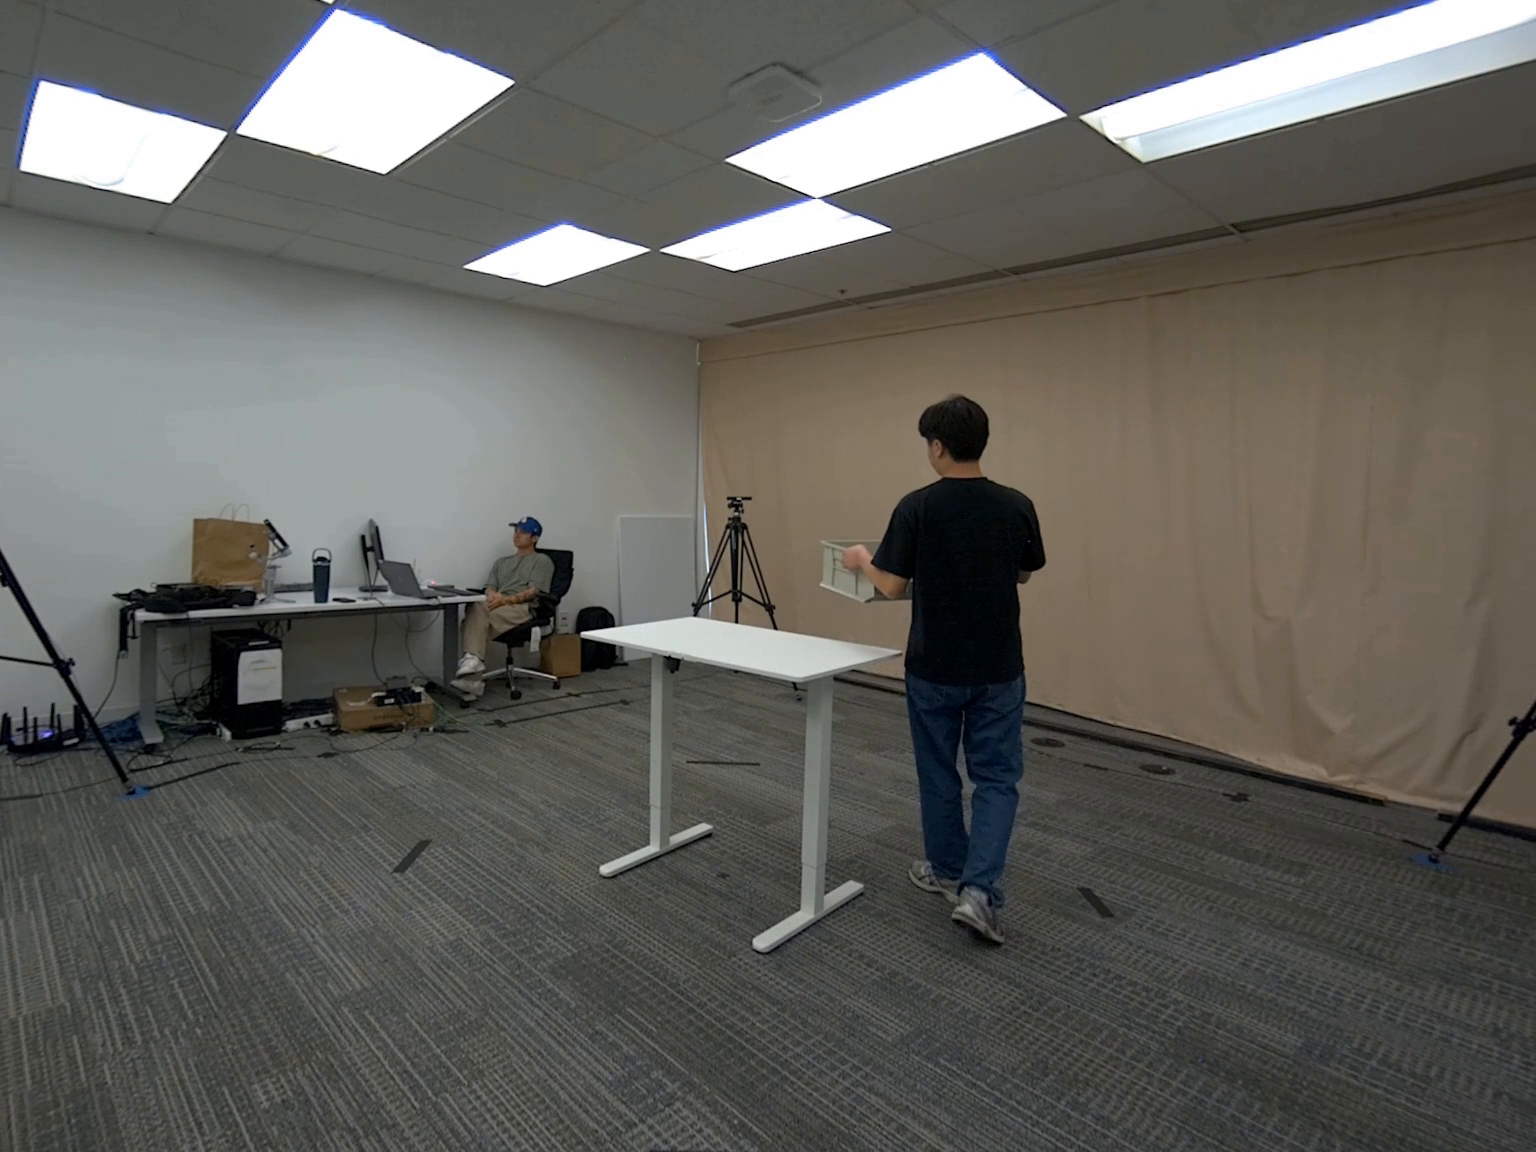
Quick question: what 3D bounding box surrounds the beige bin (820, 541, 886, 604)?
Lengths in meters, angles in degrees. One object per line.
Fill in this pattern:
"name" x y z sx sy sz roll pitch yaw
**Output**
"beige bin" 0.476 -0.012 3.250 0.415 0.188 0.386 -2 11 -26
